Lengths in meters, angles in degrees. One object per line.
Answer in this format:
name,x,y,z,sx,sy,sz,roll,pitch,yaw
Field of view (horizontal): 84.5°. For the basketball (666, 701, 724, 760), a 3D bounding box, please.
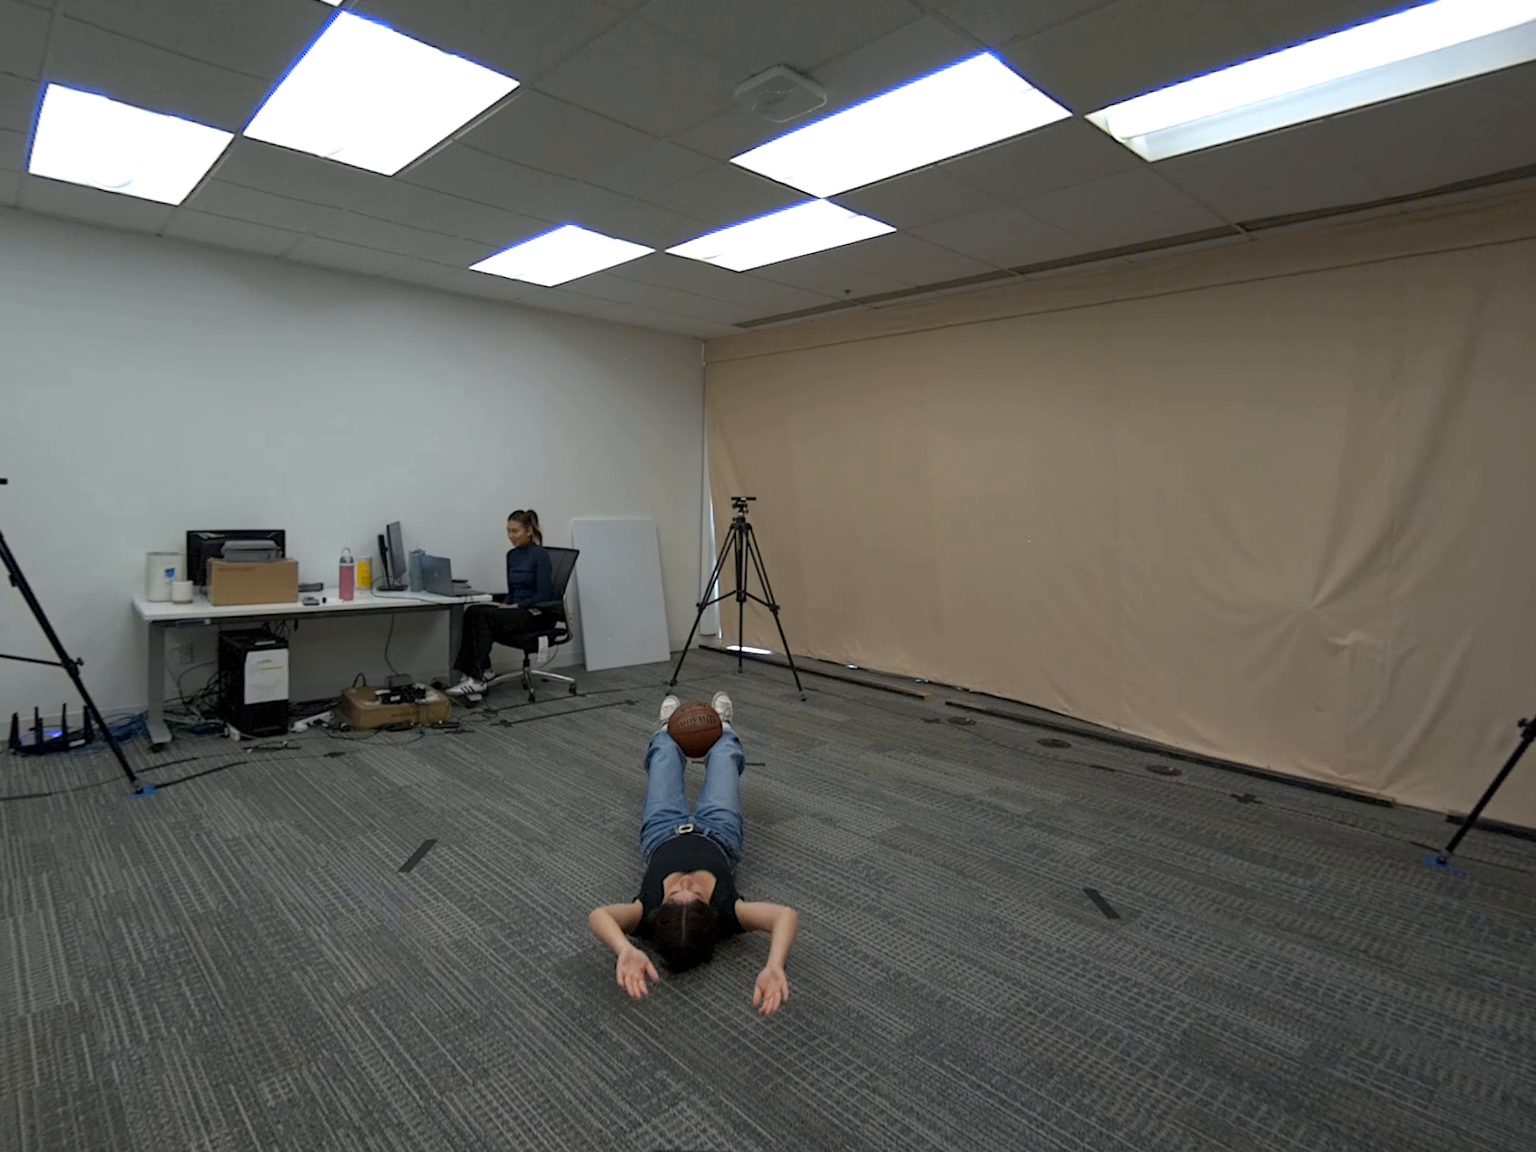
basketball,-0.320,0.649,3.598,0.236,0.235,0.237,1,4,-1
